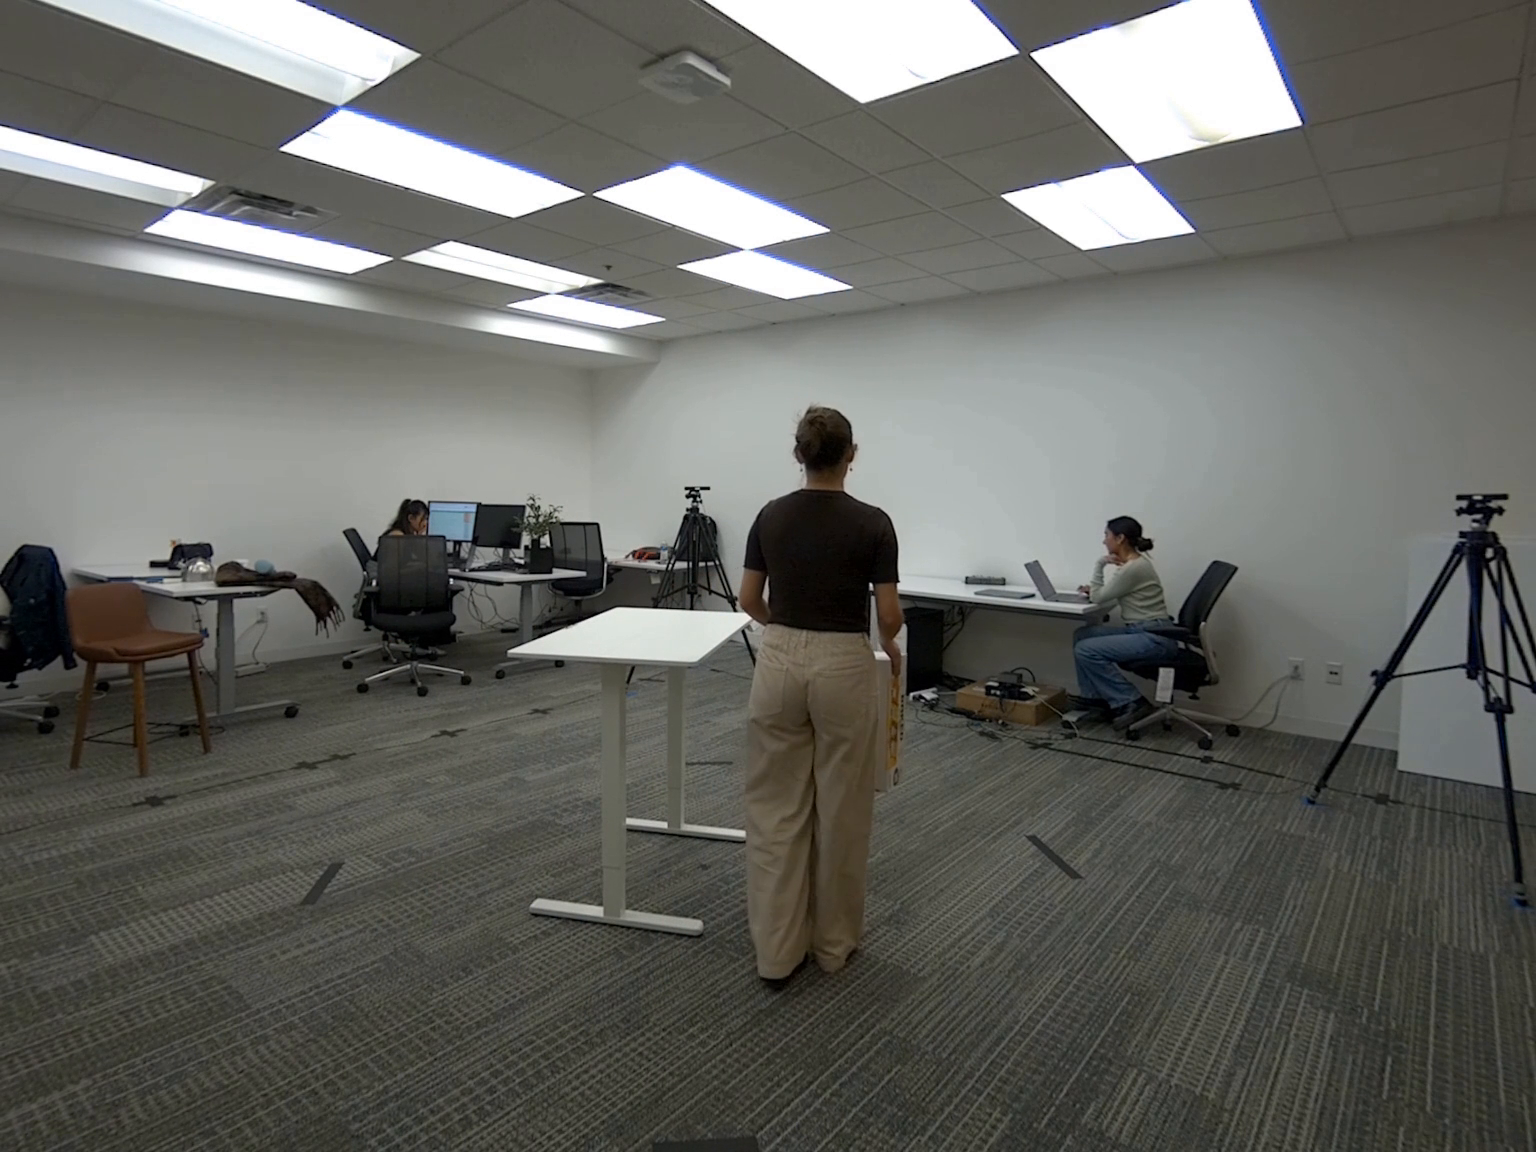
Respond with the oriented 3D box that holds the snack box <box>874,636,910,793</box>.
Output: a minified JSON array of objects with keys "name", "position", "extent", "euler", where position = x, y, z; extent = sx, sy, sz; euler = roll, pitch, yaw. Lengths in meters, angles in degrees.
[{"name":"snack box","position":[0.247,0.448,2.749],"extent":[0.349,0.405,0.200],"euler":[1,-1,25]}]
